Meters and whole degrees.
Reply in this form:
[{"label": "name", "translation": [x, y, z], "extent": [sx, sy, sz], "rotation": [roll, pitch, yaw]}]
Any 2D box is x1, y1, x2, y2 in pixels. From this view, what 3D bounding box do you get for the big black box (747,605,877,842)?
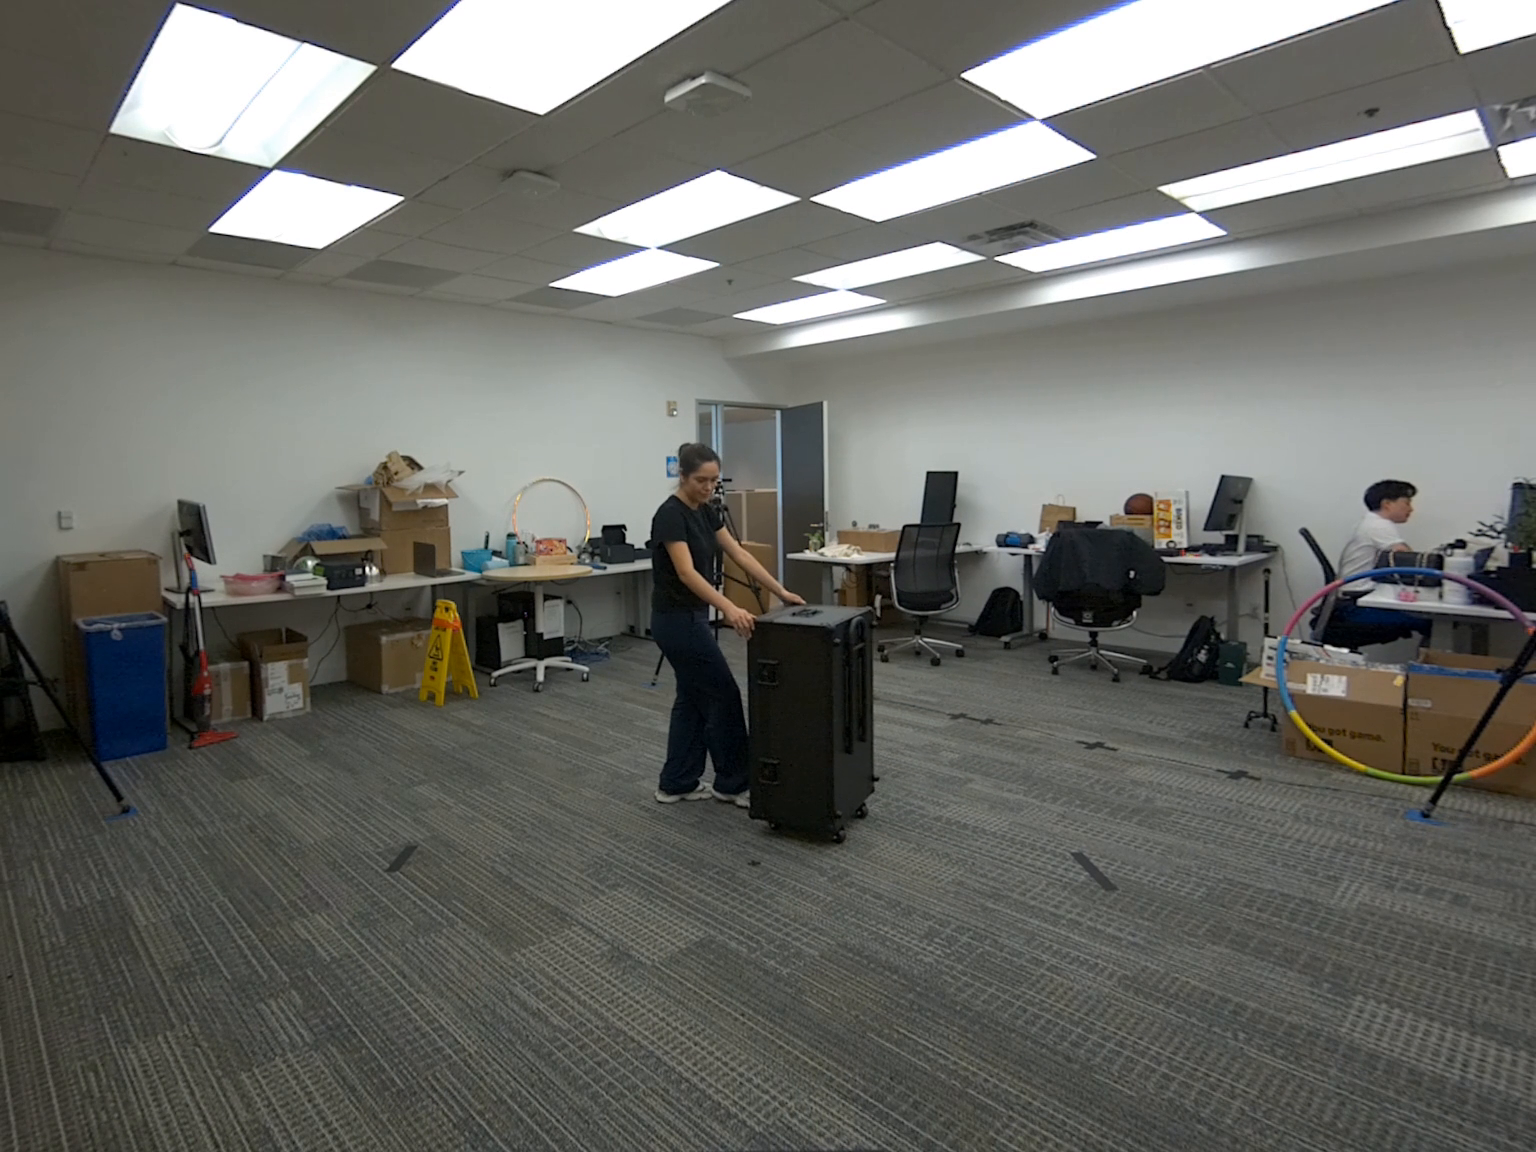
[{"label": "big black box", "translation": [0.193, 0.573, 3.457], "extent": [0.406, 0.858, 0.511], "rotation": [2, 5, 26]}]
